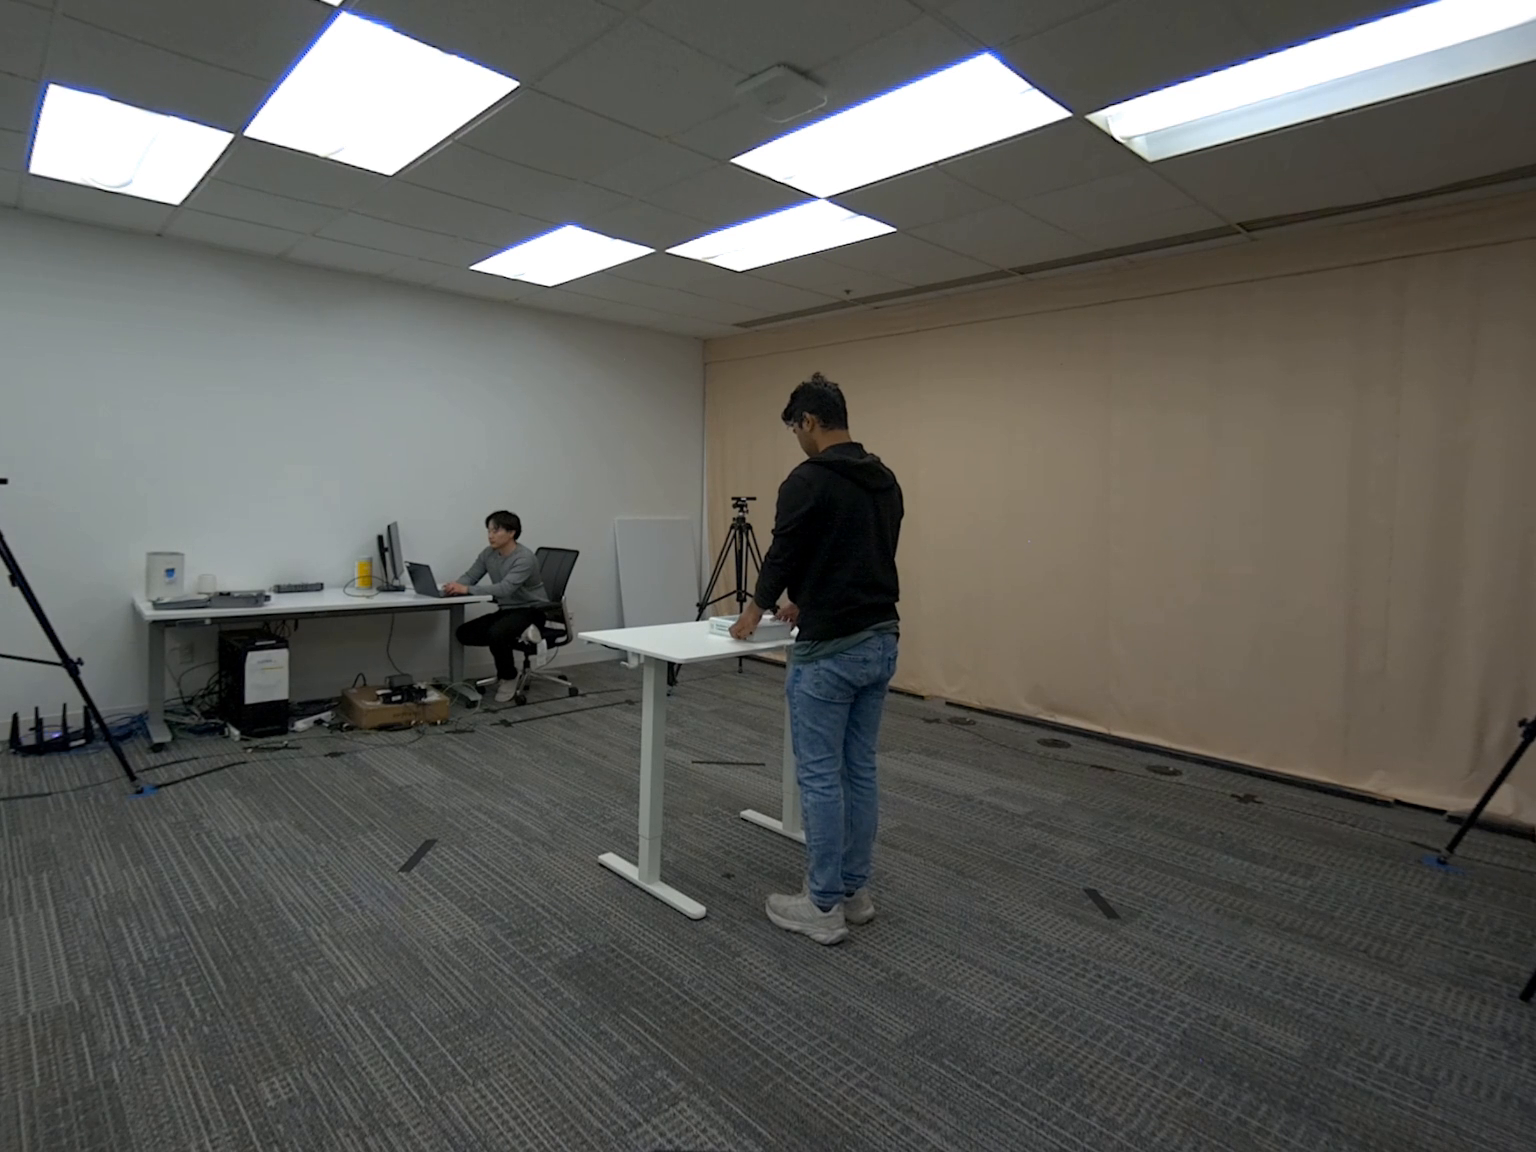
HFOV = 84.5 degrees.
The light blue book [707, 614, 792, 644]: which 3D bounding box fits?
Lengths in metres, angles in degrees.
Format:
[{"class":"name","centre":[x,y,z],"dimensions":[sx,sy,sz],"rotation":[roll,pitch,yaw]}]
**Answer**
[{"class":"light blue book","centre":[-0.075,0.197,3.145],"dimensions":[0.187,0.059,0.268],"rotation":[-3,8,-43]}]
